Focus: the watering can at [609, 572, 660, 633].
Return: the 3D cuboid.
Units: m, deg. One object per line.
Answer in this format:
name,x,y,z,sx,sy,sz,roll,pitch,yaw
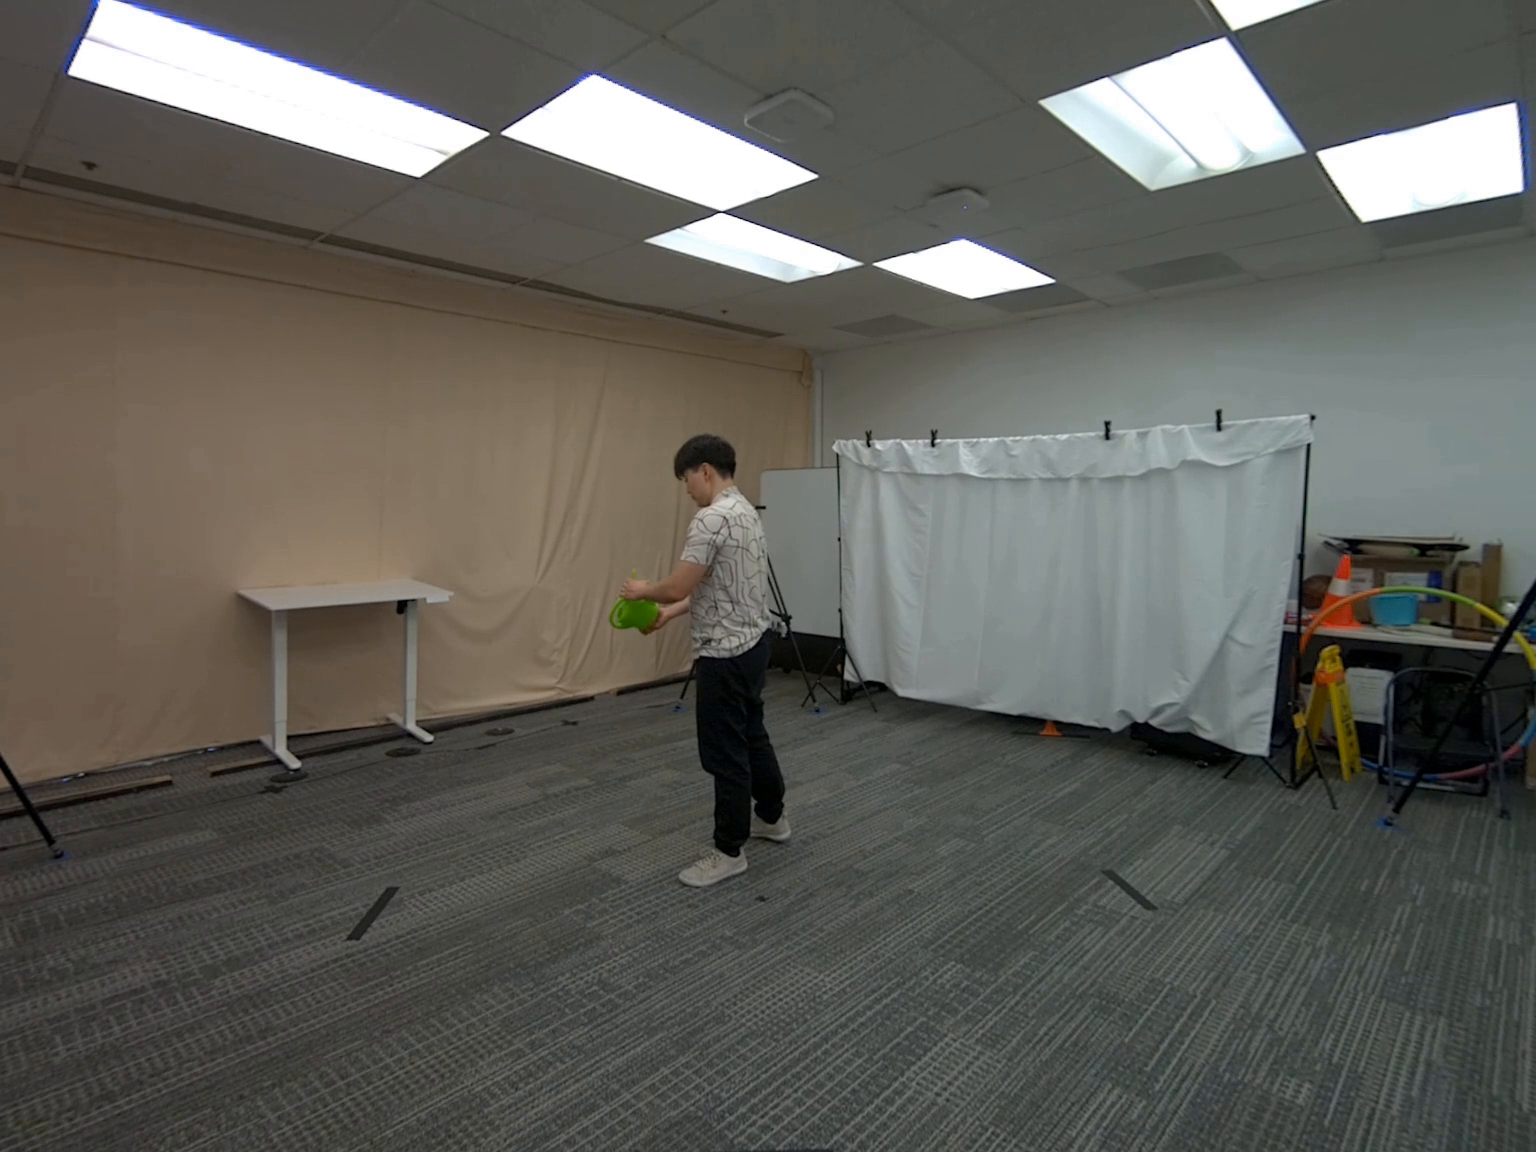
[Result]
watering can,-0.515,0.117,3.376,0.171,0.279,0.100,22,34,-28
